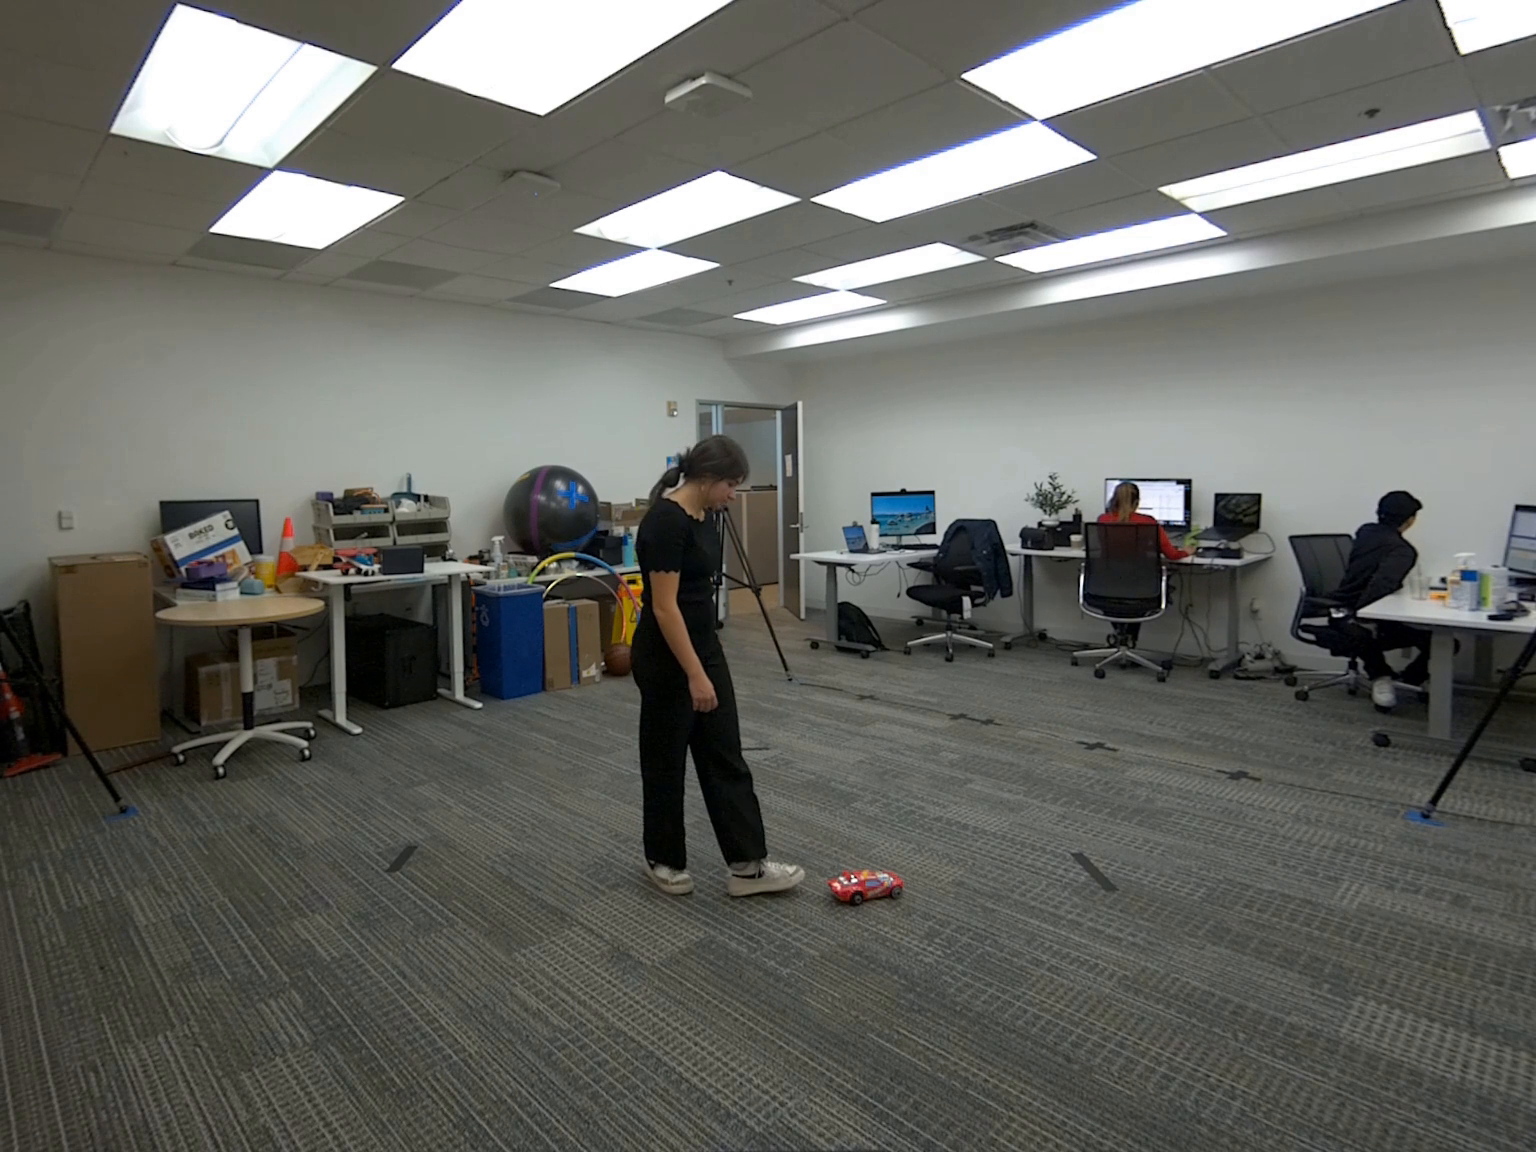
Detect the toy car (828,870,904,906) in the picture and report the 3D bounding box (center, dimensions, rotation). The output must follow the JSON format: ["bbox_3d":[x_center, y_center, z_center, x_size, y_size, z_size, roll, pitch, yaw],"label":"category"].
[{"bbox_3d":[0.318,1.030,2.844,0.250,0.083,0.133,9,3,-18],"label":"toy car"}]
